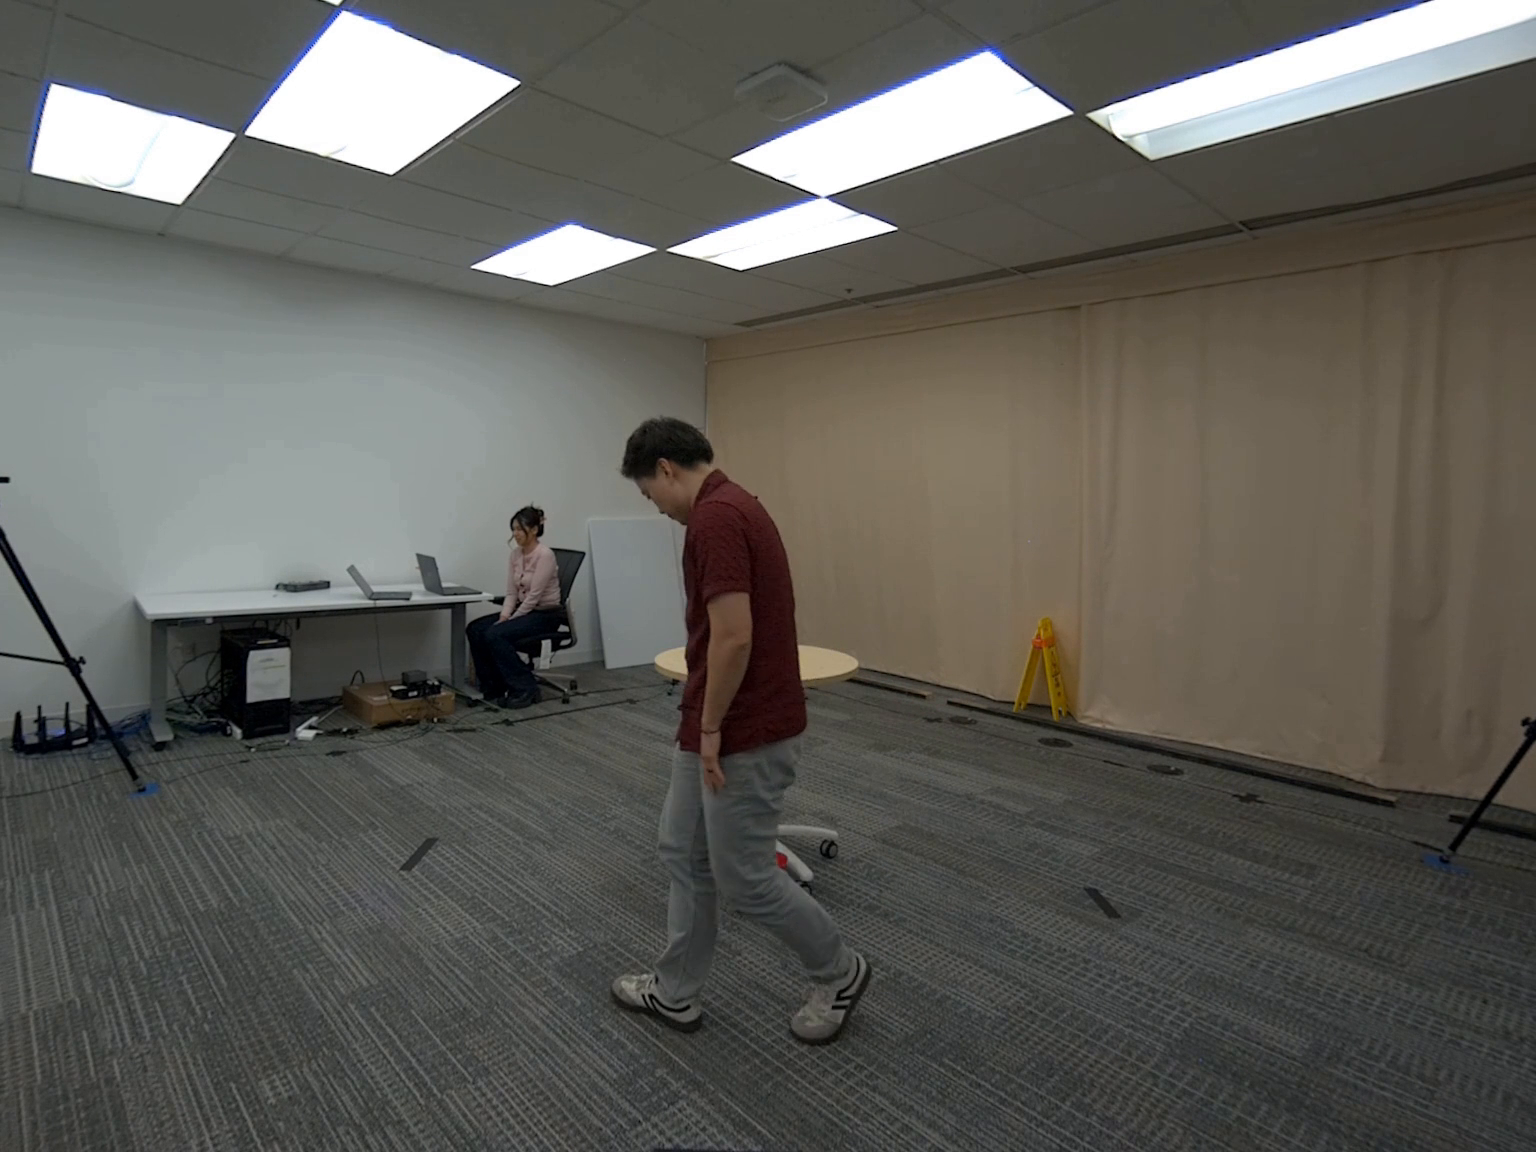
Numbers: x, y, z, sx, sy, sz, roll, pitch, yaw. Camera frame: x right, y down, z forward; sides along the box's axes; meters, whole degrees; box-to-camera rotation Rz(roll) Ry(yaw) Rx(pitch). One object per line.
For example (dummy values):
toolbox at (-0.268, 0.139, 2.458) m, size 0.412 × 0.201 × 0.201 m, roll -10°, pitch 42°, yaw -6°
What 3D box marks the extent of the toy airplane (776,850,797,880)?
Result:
toy airplane at (-0.059, 1.051, 2.907) m, size 0.248 × 0.156 × 0.263 m, roll 0°, pitch 5°, yaw -18°
